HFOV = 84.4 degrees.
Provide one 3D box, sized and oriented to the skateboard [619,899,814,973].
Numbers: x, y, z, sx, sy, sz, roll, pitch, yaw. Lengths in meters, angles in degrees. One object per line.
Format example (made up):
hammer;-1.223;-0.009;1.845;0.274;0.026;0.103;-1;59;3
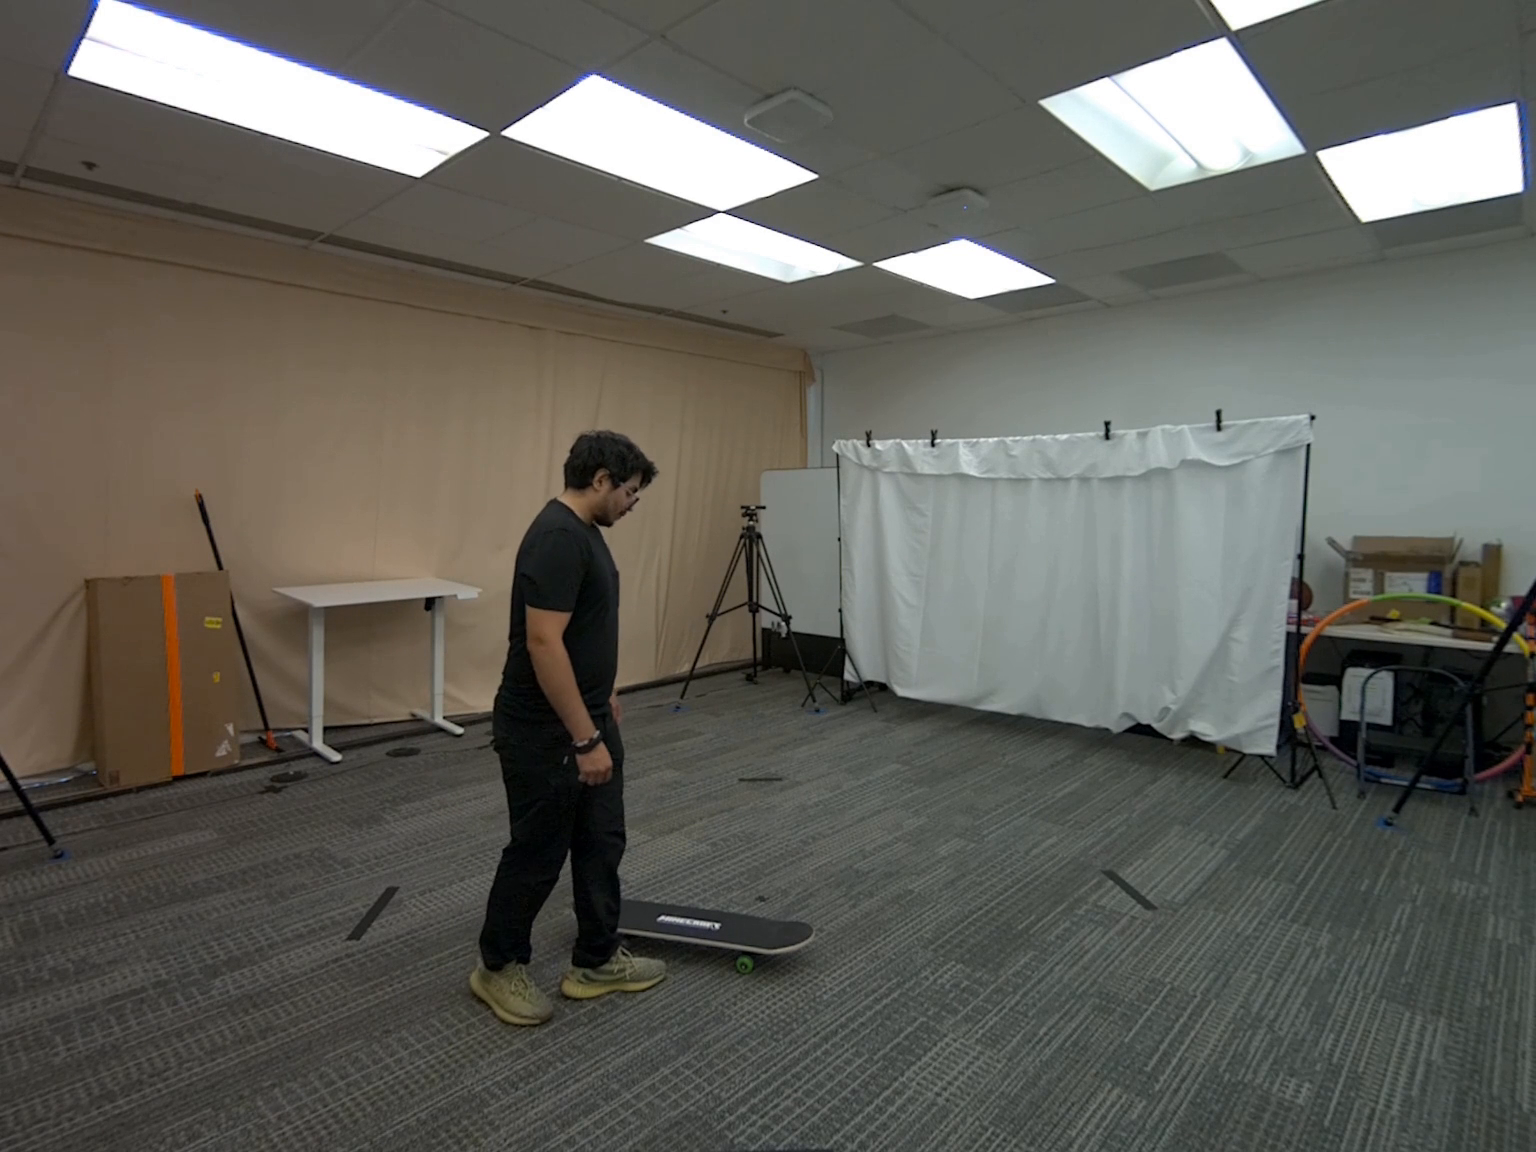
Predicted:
skateboard;-0.243;1.114;2.641;0.799;0.110;0.190;0;4;16
